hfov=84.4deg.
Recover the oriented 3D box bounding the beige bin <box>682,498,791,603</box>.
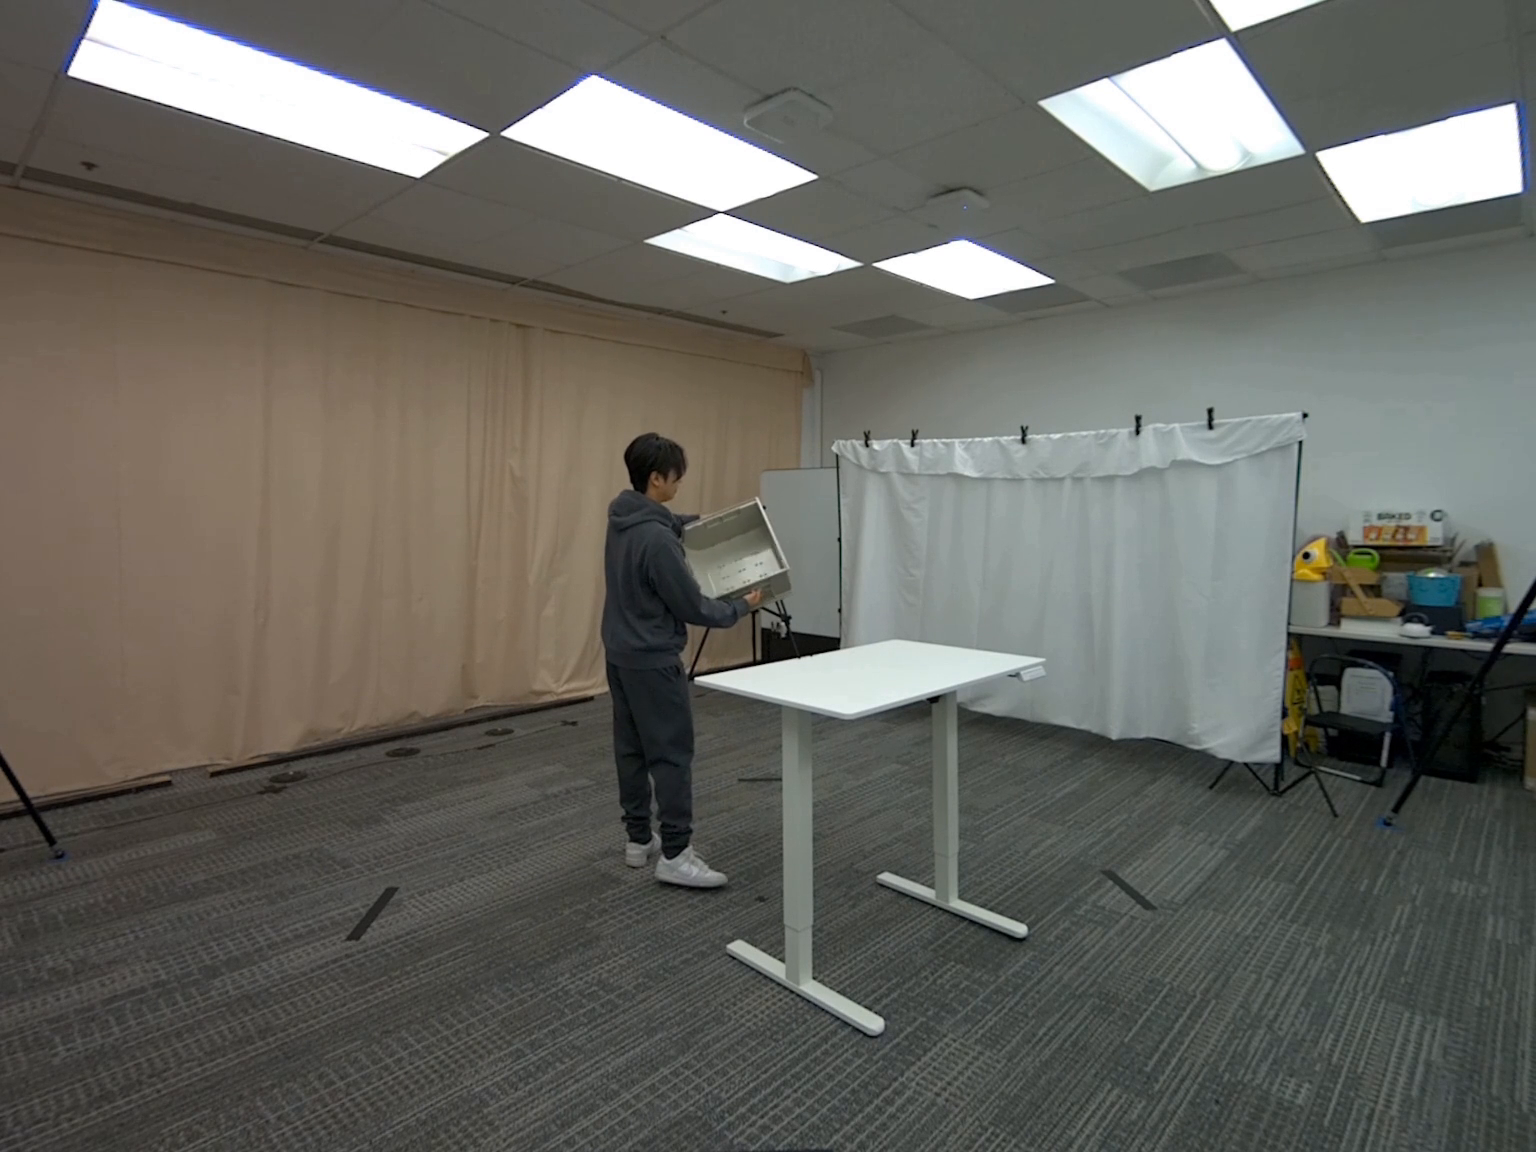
[{"bbox_3d":[-0.133,-0.066,3.513,0.377,0.435,0.184,-21,-39,-2],"label":"beige bin"}]
